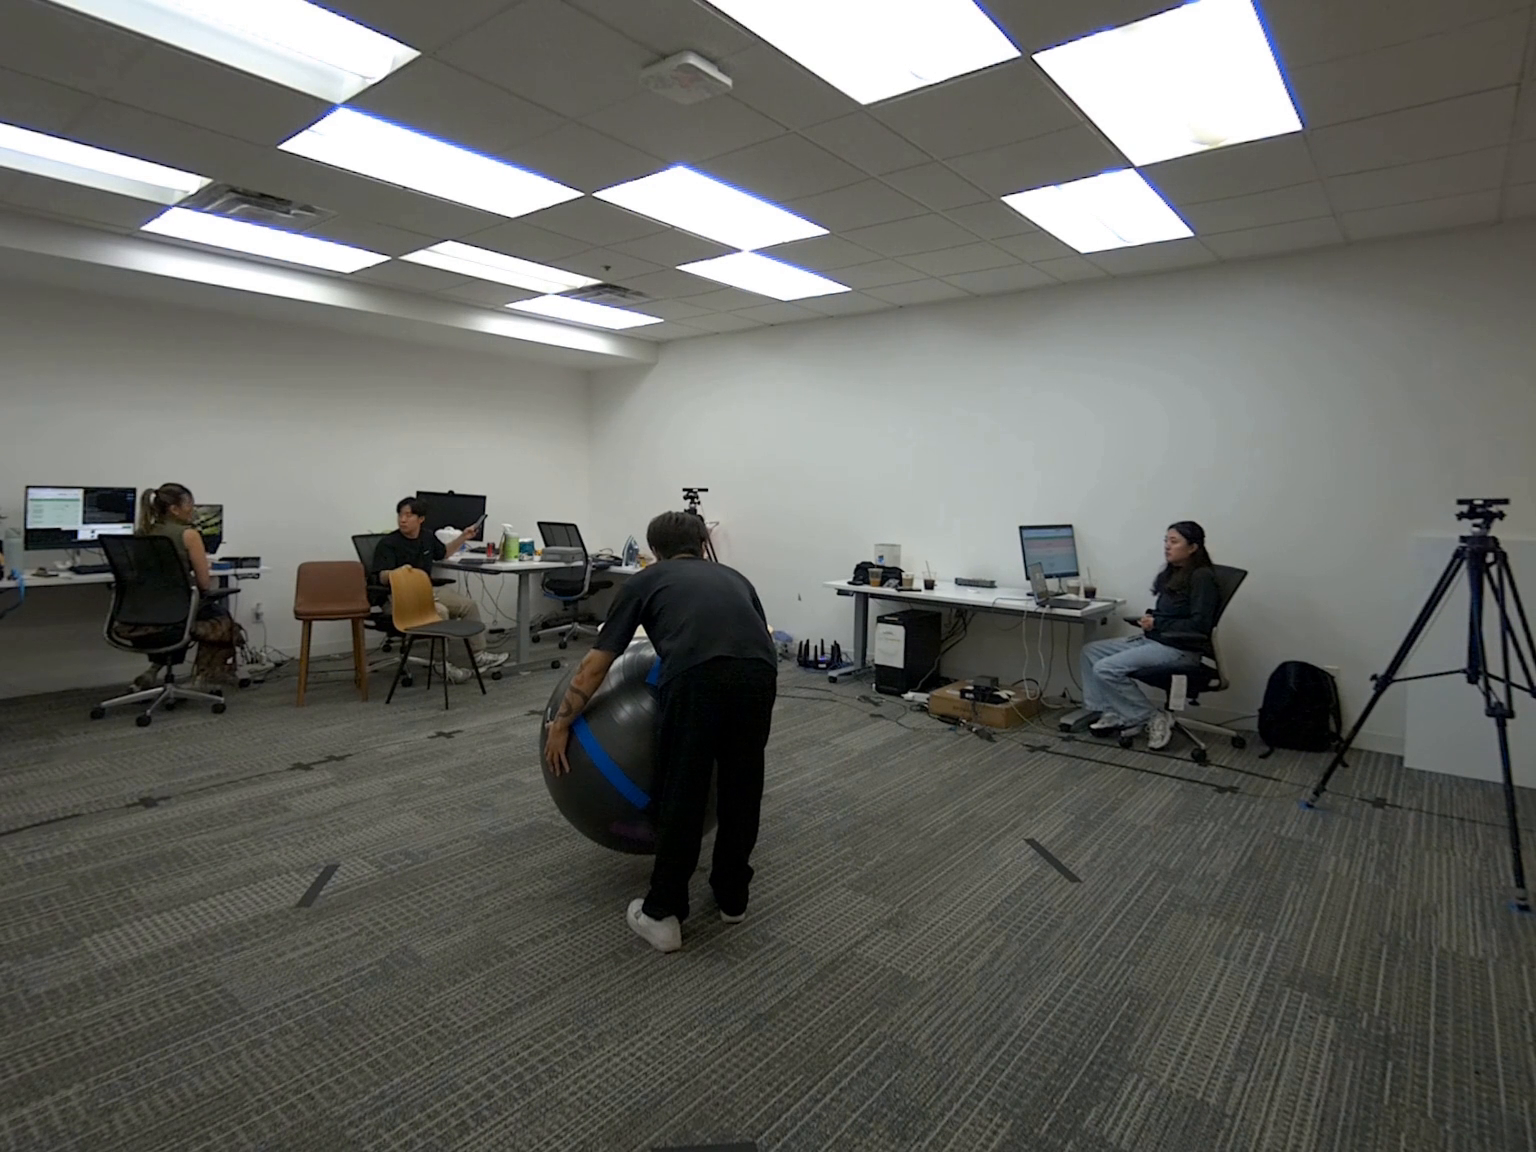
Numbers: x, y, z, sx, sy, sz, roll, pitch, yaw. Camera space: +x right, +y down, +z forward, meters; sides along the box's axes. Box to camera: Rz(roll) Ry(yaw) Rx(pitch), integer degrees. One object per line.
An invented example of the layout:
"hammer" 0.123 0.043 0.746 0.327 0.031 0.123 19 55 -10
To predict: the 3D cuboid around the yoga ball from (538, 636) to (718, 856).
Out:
"yoga ball" -0.457 0.611 3.058 0.757 0.755 0.762 1 4 -2
